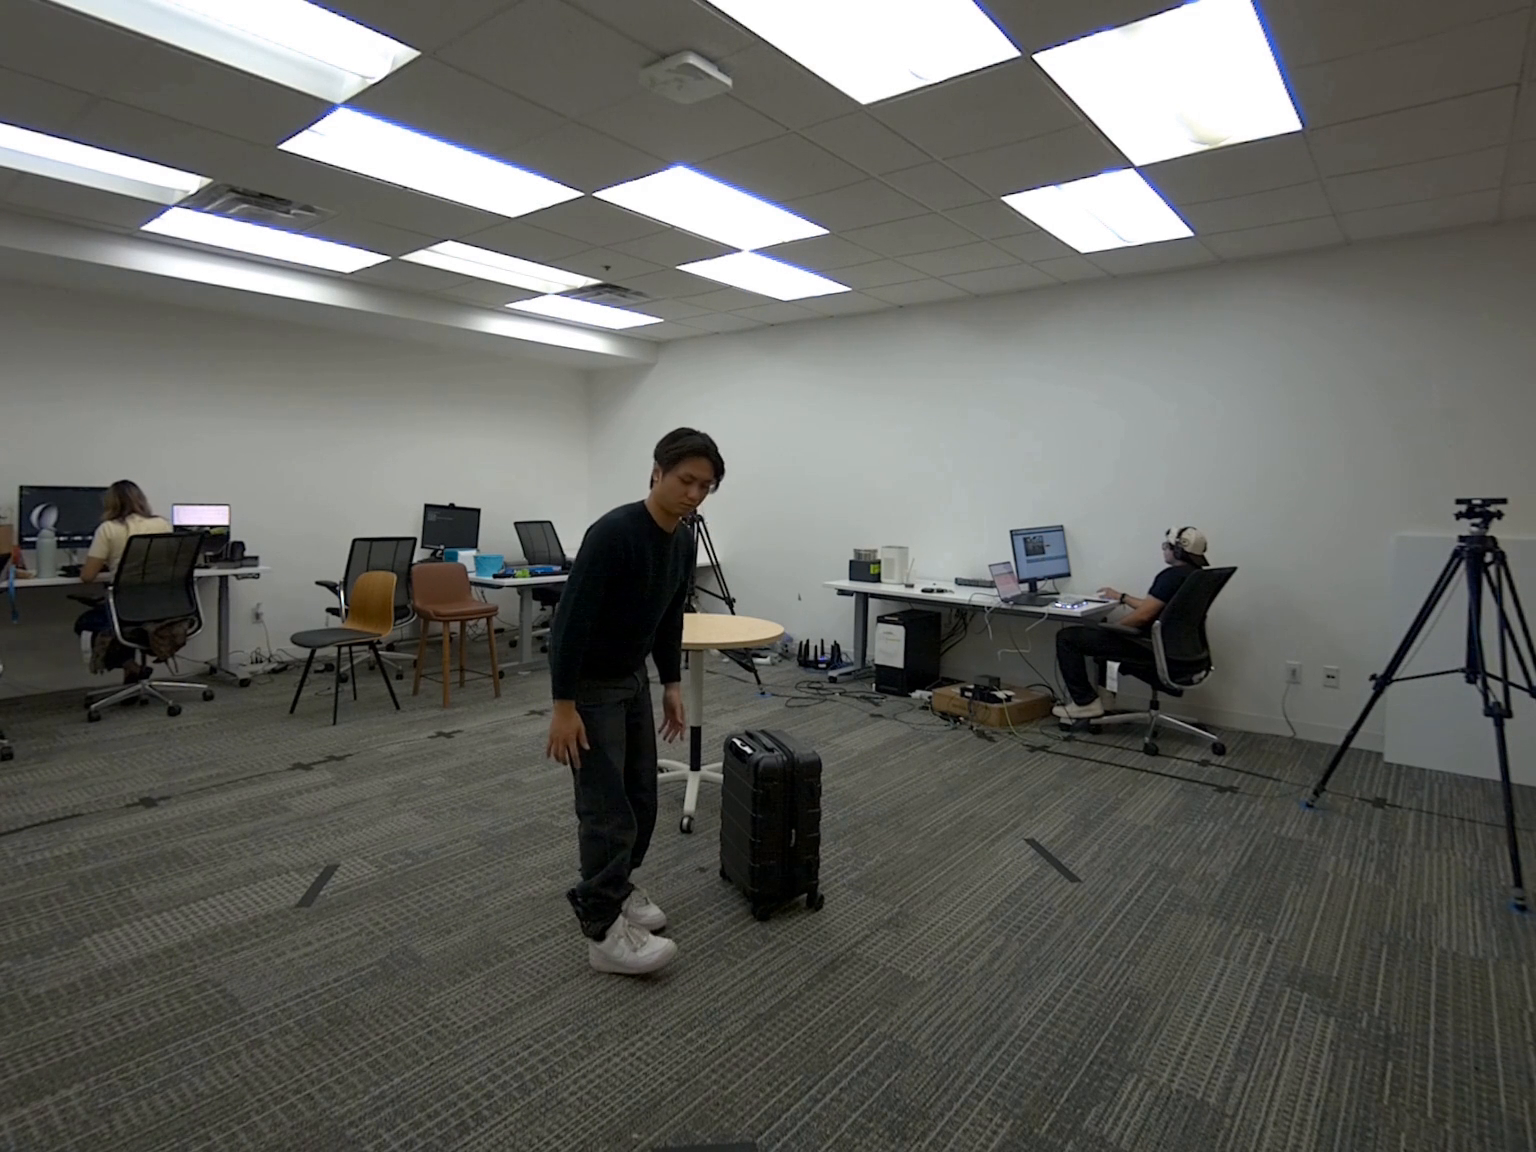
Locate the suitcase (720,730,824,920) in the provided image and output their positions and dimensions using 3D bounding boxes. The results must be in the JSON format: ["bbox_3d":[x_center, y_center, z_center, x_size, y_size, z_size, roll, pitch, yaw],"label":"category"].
[{"bbox_3d":[-0.006,0.813,2.911,0.243,0.547,0.385,-1,5,-22],"label":"suitcase"}]
